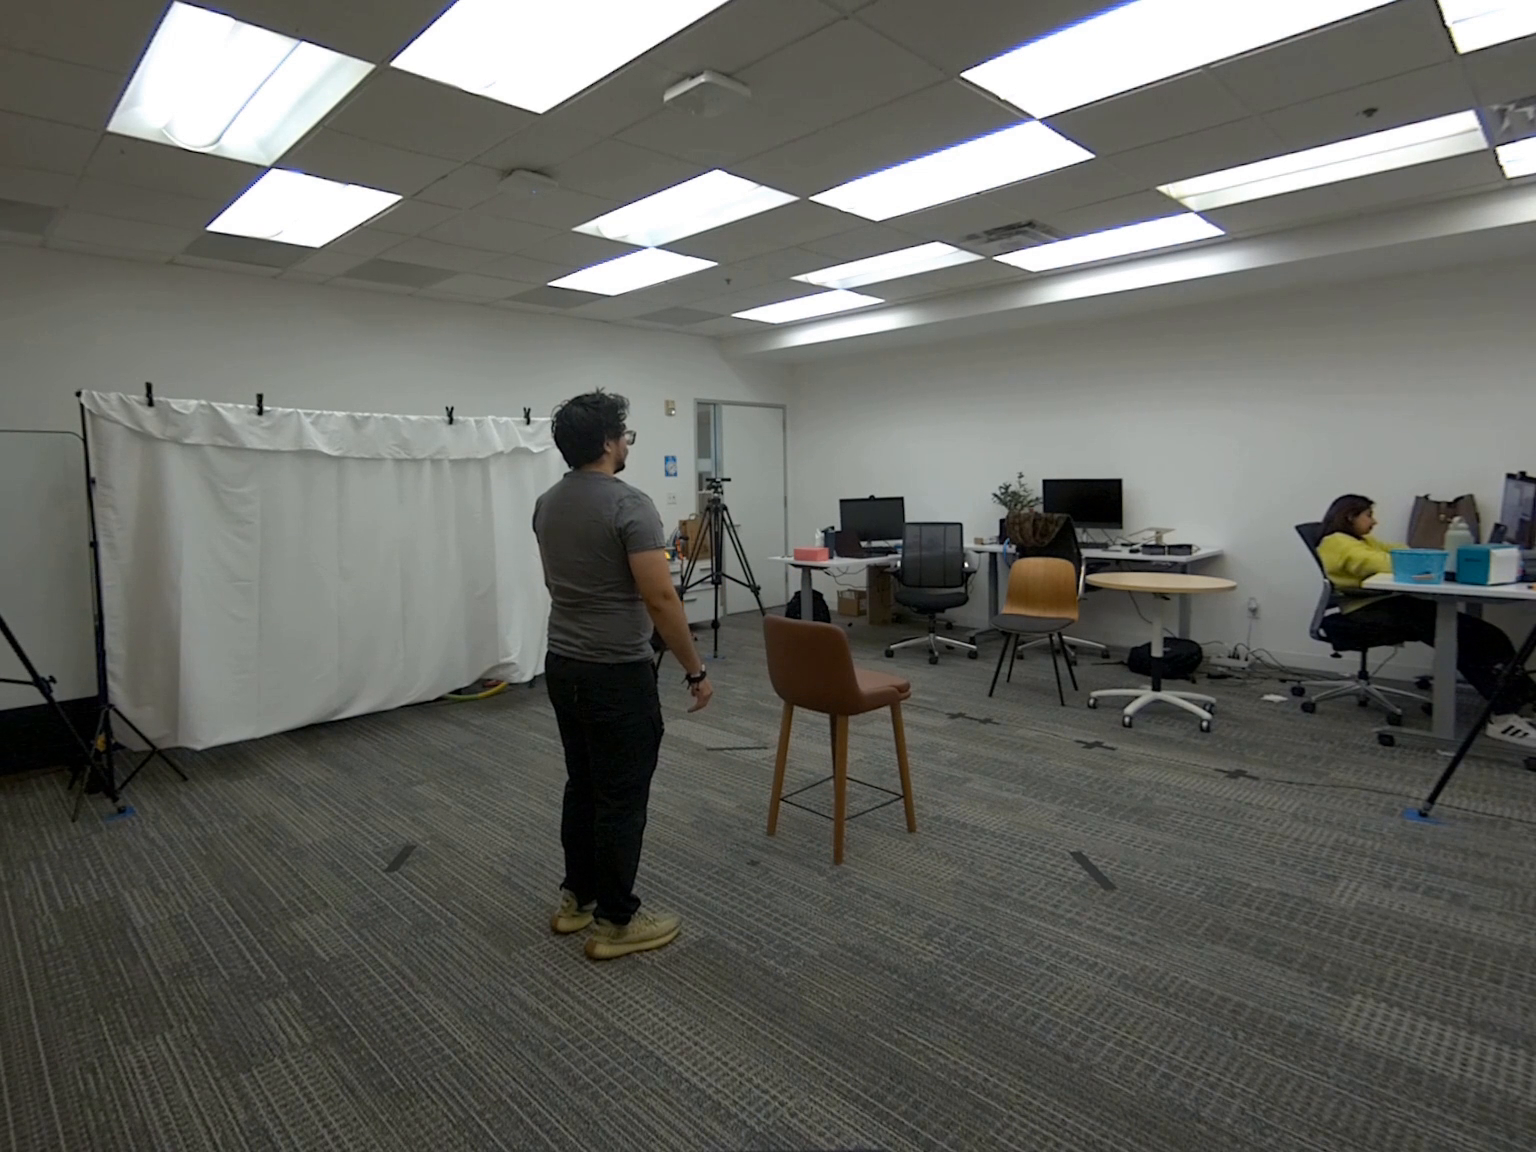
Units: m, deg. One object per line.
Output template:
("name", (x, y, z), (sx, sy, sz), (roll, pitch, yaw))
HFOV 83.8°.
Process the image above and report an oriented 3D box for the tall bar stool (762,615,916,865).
("tall bar stool", (0.275, 0.577, 3.331), (0.456, 0.885, 0.471), (-7, 7, -42))
